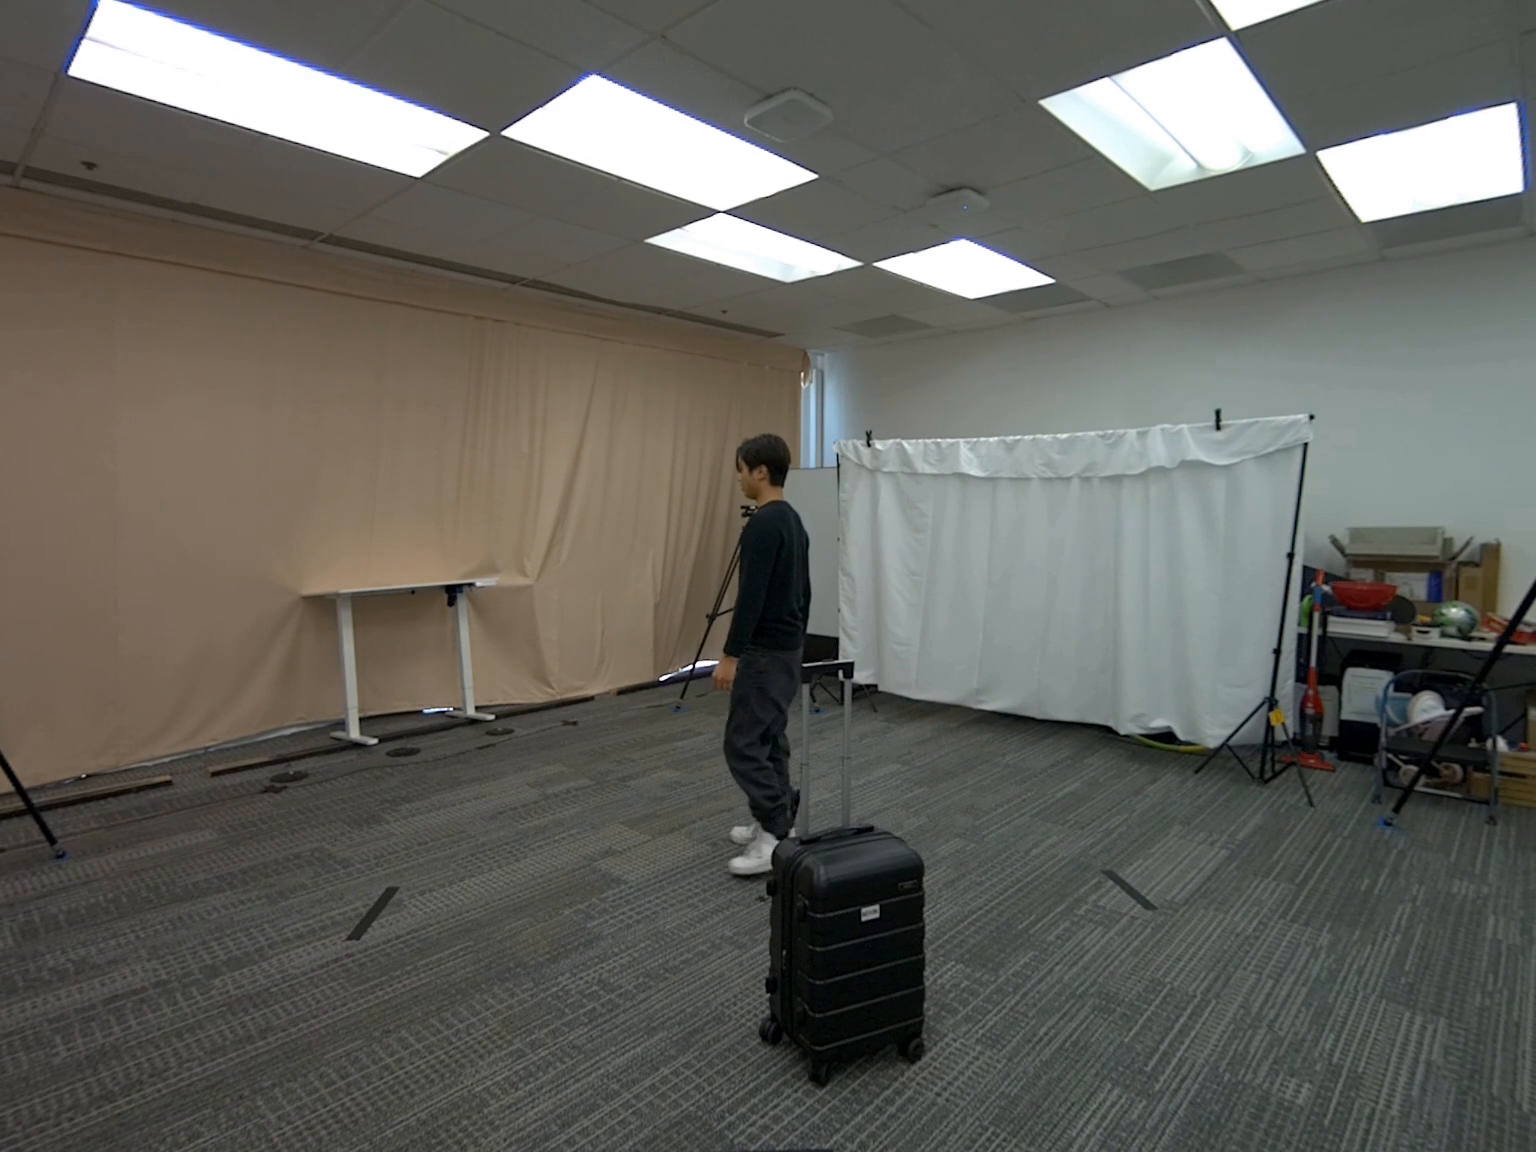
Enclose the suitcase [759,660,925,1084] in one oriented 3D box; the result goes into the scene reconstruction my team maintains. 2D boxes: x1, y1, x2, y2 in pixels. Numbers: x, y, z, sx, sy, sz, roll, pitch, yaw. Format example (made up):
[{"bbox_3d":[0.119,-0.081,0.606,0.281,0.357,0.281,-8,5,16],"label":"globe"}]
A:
[{"bbox_3d":[0.219,0.738,2.134,0.375,0.976,0.264,0,5,-23],"label":"suitcase"}]
